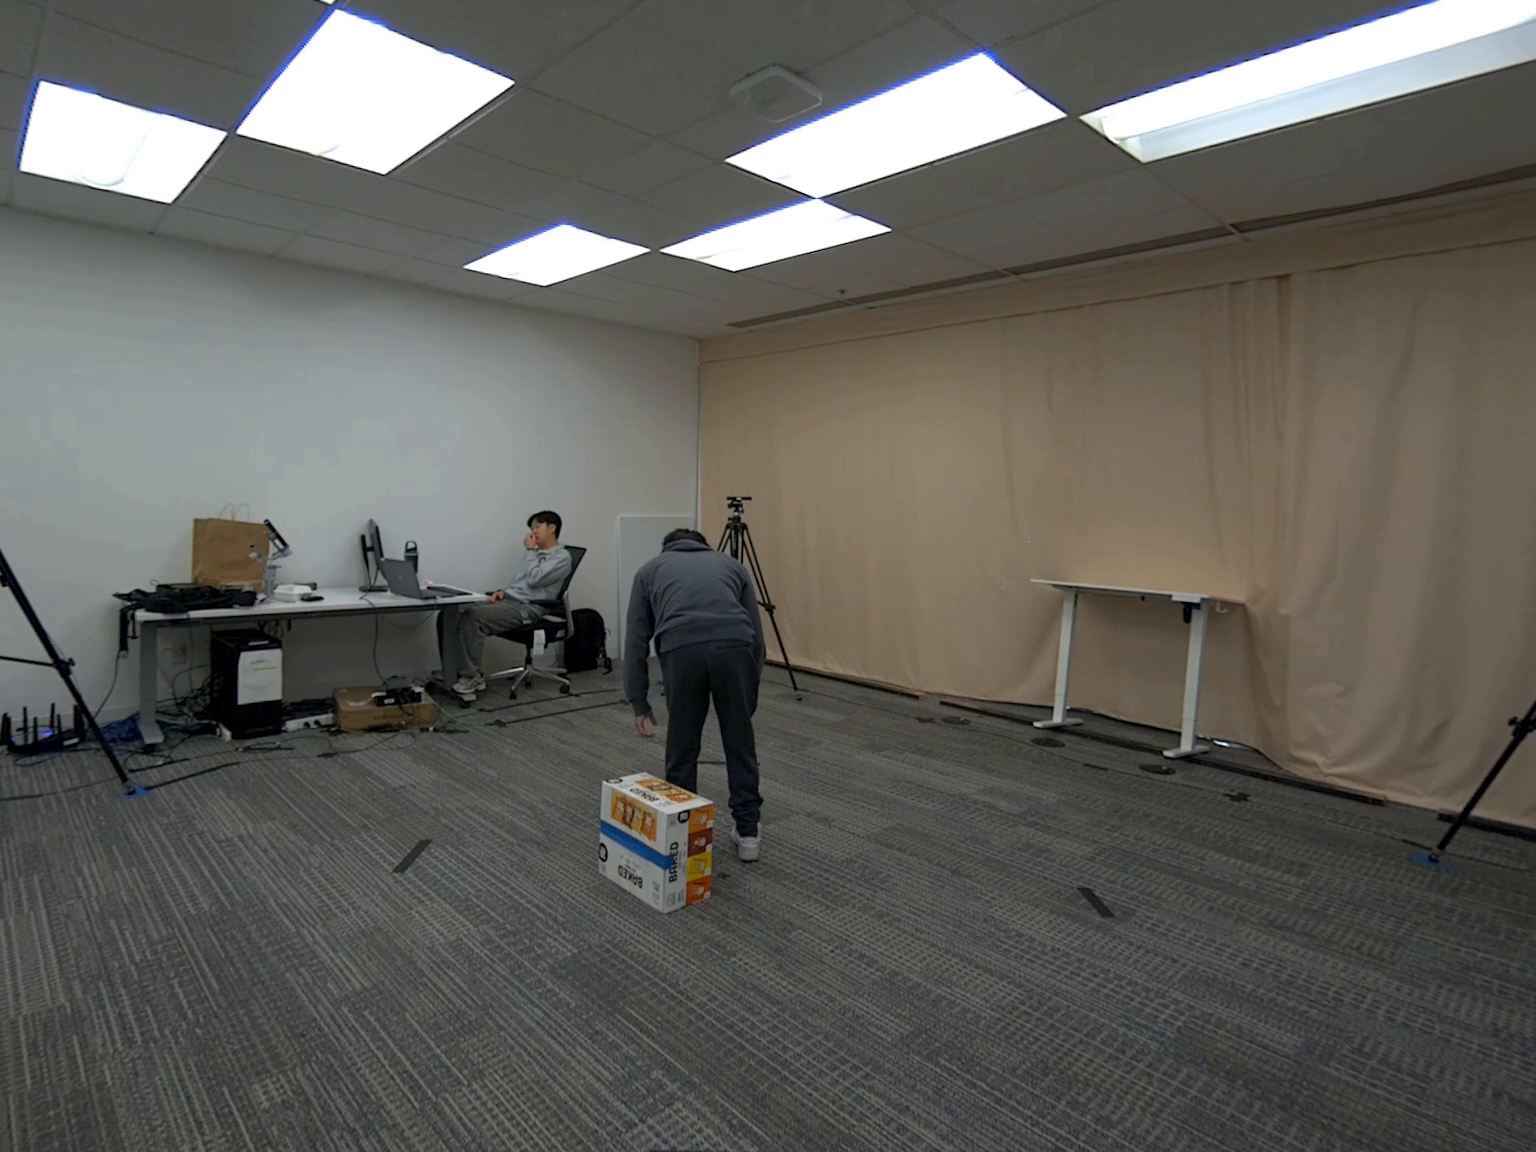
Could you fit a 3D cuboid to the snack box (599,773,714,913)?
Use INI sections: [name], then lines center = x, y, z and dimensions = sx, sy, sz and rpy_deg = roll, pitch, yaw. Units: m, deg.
[snack box]
center = -0.413, 0.941, 3.008
dimensions = 0.201, 0.340, 0.415
rpy_deg = 0, 4, -43
